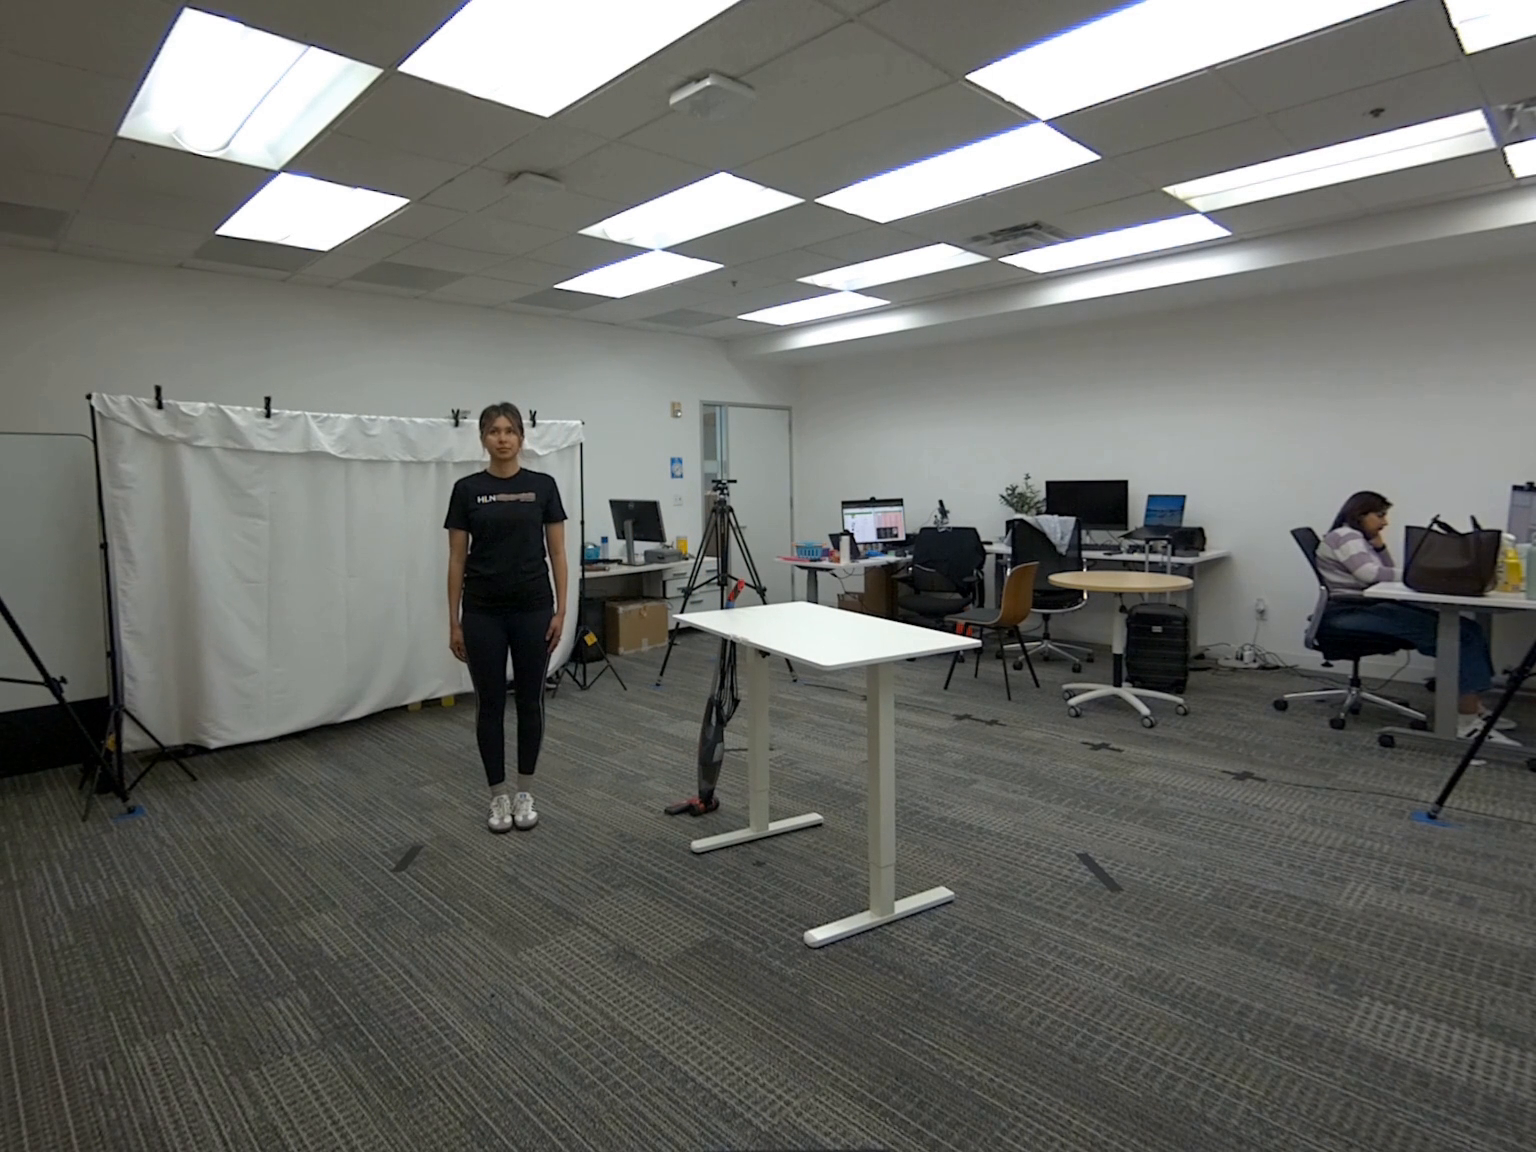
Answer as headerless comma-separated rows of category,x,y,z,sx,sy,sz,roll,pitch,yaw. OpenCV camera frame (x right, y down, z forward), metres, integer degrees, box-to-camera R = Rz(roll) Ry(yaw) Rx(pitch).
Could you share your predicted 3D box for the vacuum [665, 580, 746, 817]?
vacuum,-0.208,0.513,3.489,0.149,1.037,0.246,26,23,38
